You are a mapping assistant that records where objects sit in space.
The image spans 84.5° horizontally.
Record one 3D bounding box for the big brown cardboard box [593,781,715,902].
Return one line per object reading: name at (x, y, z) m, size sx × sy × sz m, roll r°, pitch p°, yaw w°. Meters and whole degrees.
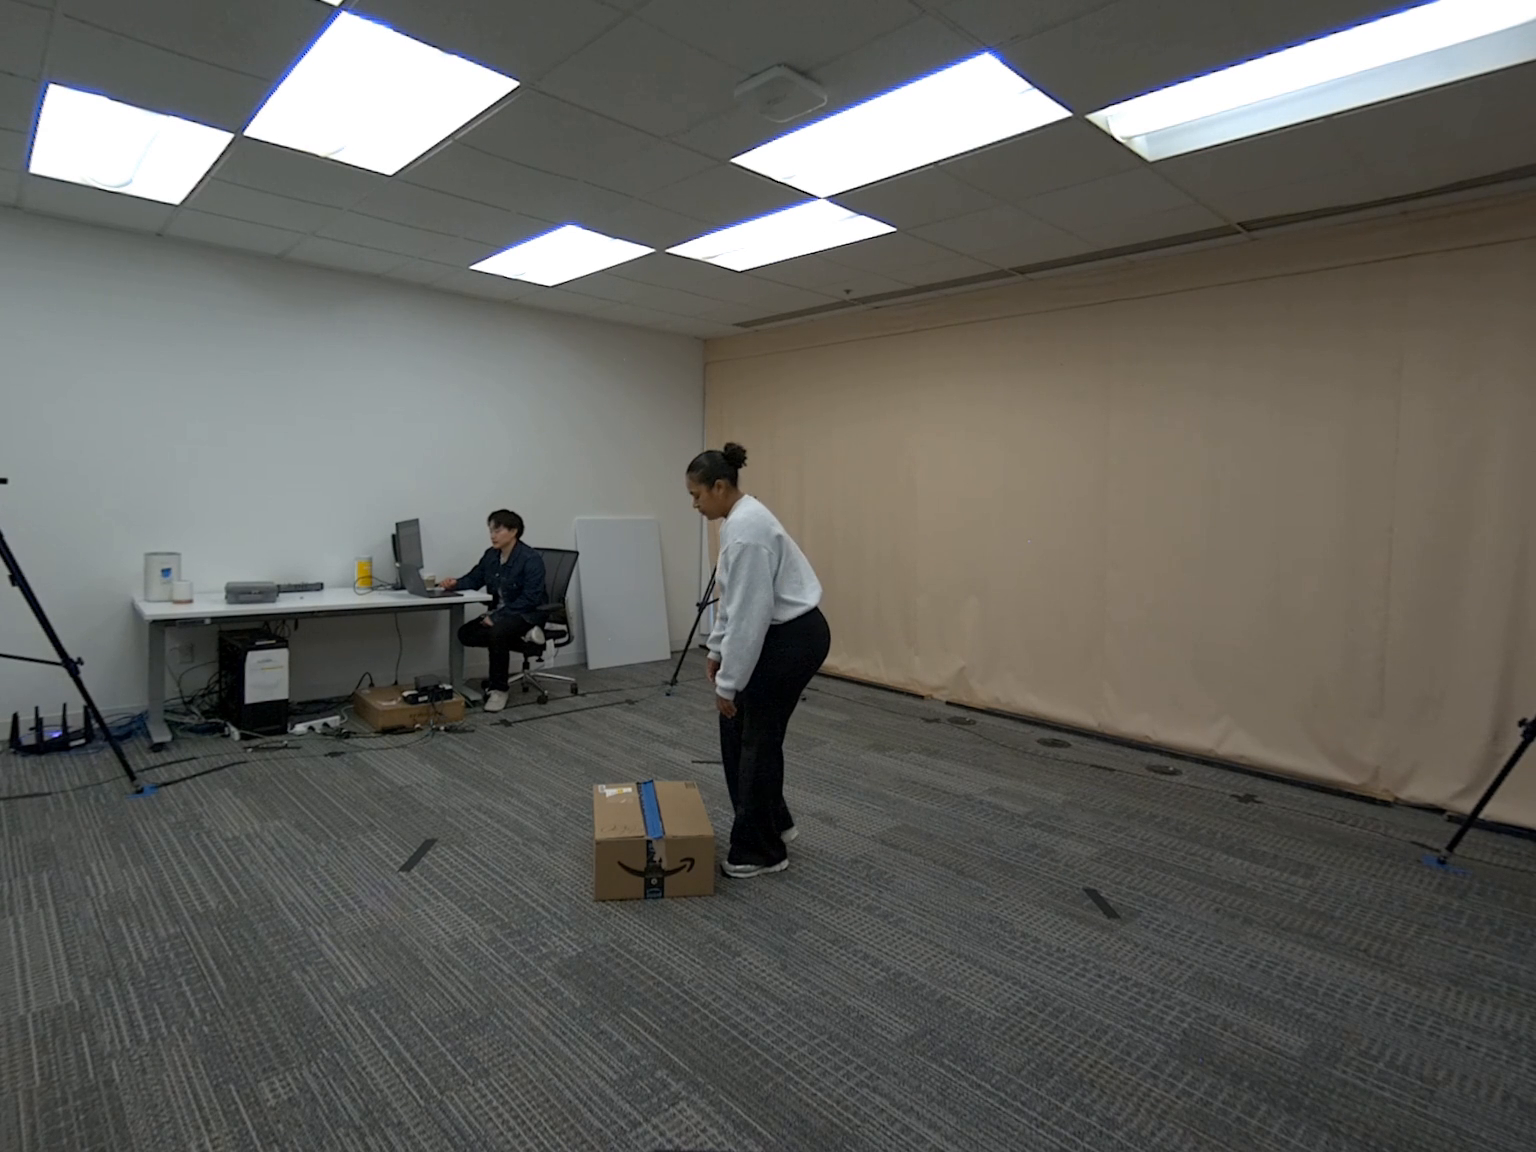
big brown cardboard box at (-0.460, 0.981, 3.184) m, size 0.414 × 0.232 × 0.596 m, roll 1°, pitch 6°, yaw -11°
